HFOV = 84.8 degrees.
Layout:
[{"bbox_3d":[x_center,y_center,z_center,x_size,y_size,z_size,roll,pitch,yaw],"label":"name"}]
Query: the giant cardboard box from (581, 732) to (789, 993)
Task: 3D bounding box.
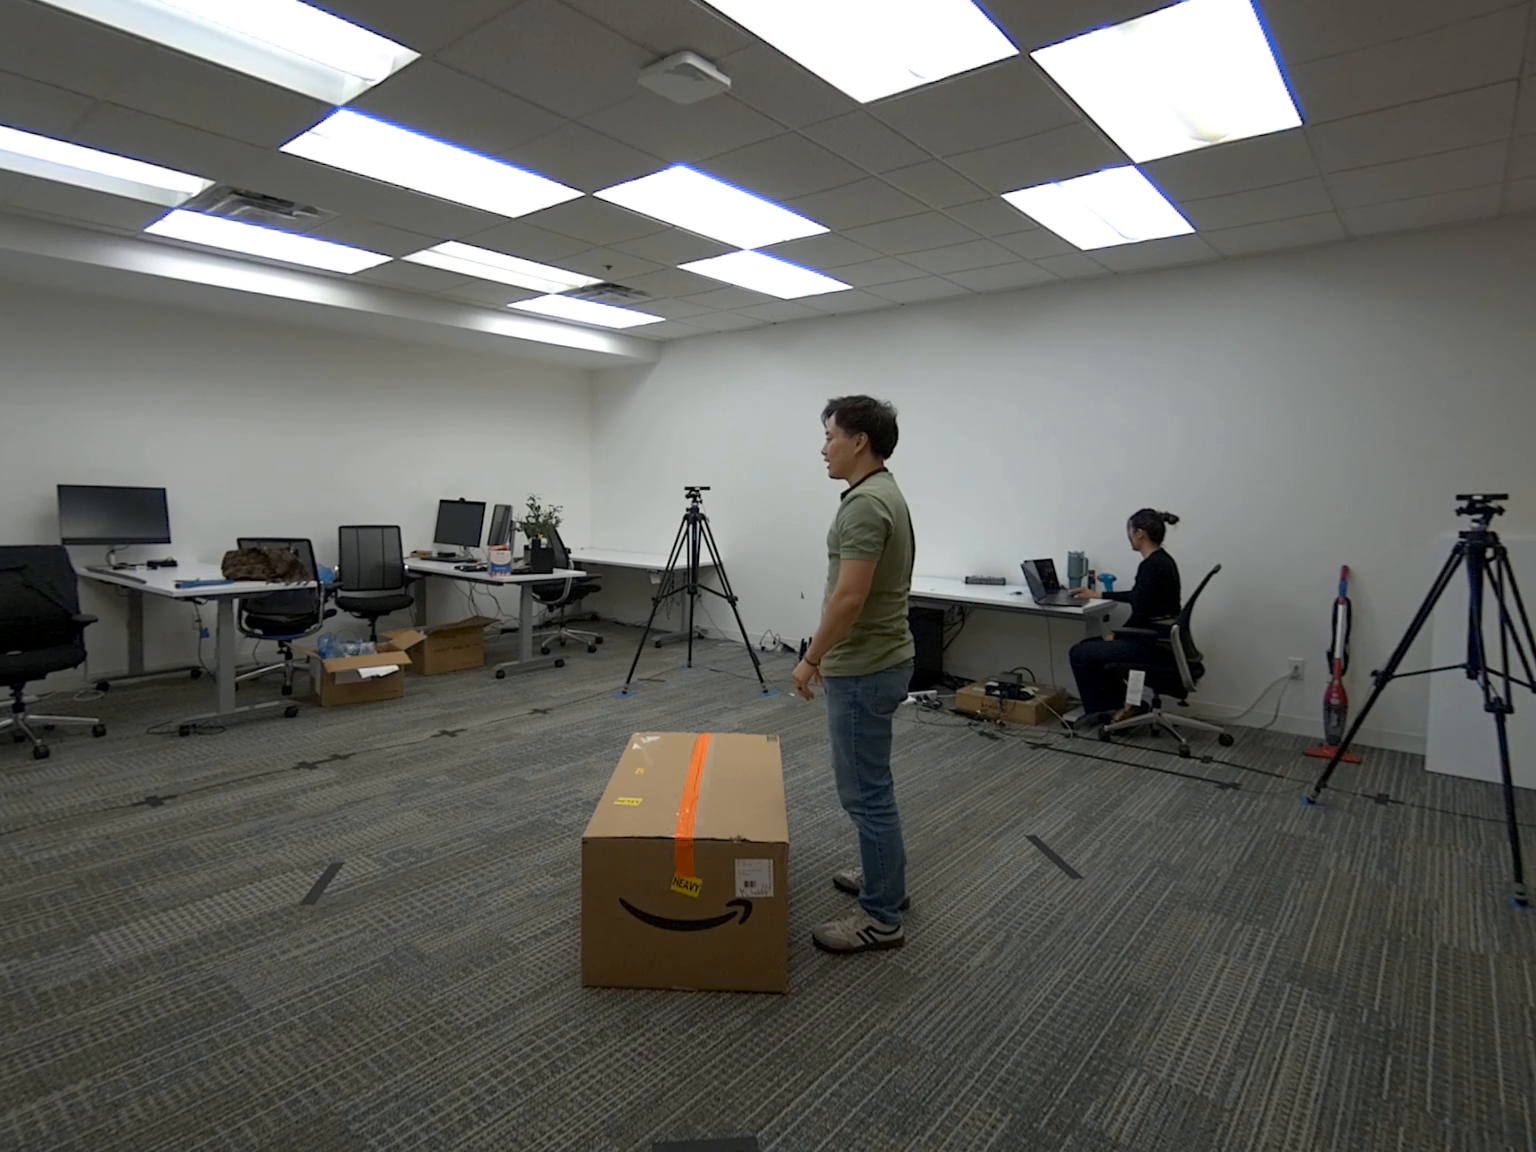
[{"bbox_3d":[-0.247,0.873,2.840,0.578,0.424,1.029,0,5,-1],"label":"giant cardboard box"}]
